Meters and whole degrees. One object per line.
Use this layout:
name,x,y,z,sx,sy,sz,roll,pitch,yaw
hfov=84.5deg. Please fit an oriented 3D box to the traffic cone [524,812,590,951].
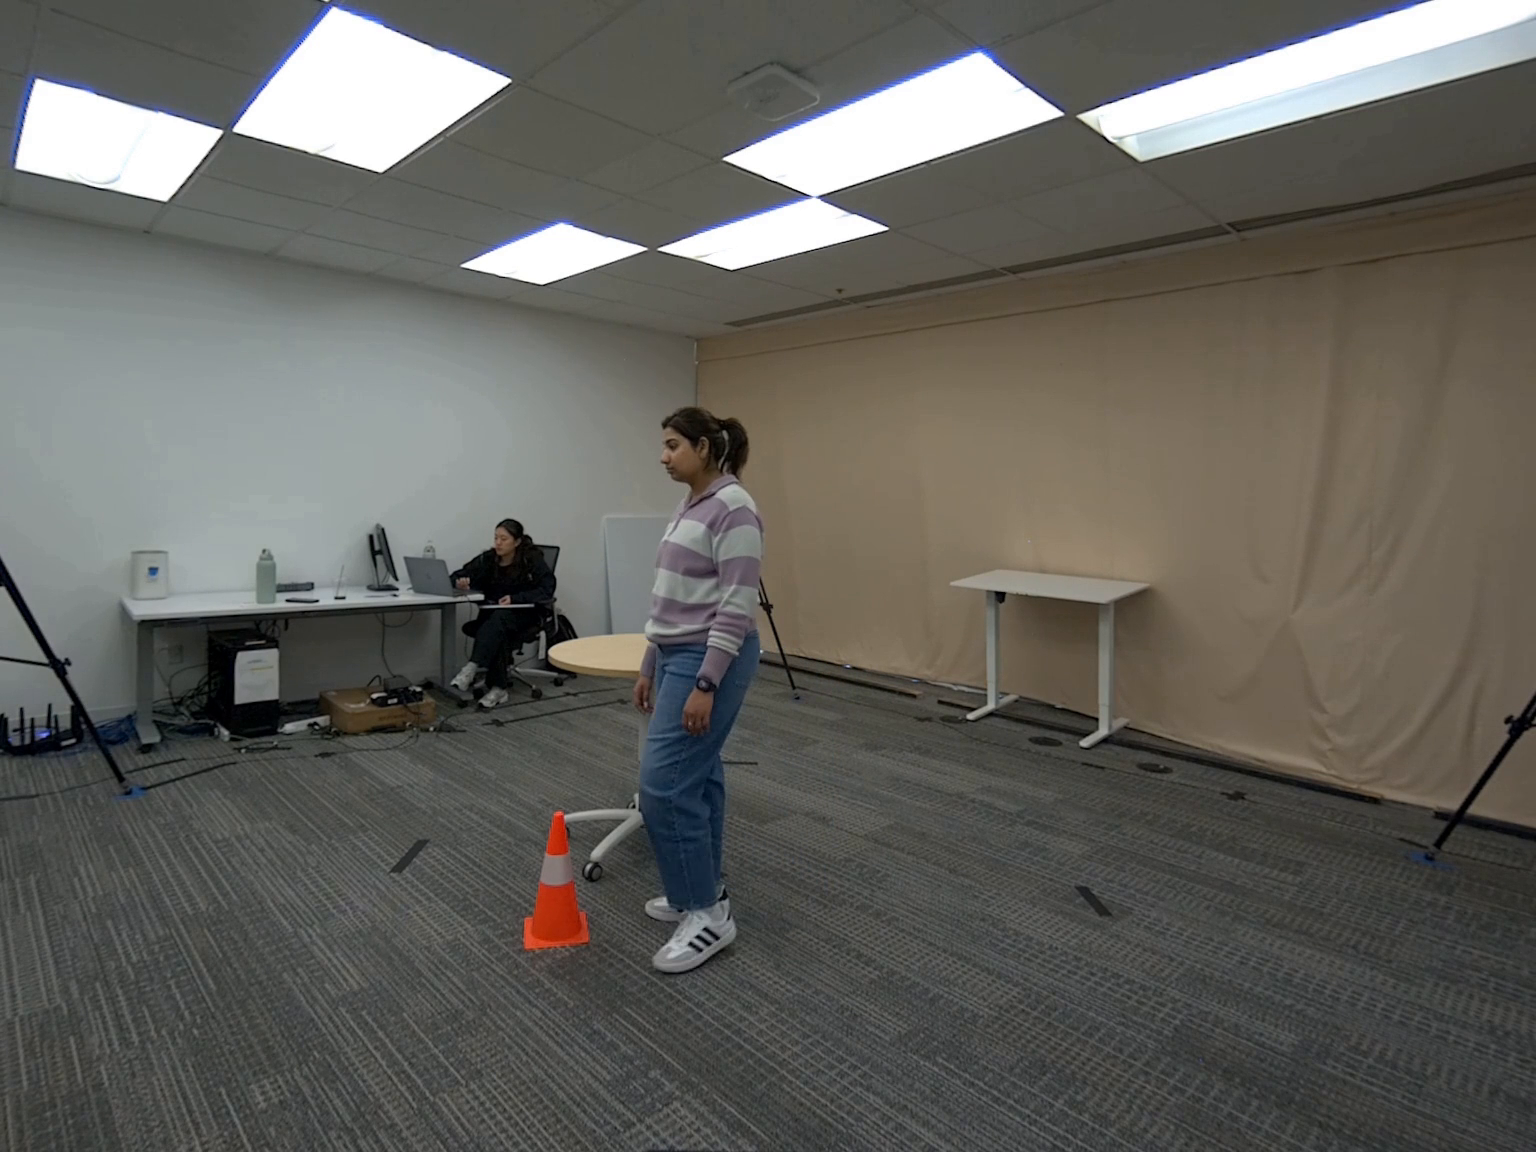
traffic cone,-0.670,0.941,2.678,0.202,0.383,0.206,2,1,-17
